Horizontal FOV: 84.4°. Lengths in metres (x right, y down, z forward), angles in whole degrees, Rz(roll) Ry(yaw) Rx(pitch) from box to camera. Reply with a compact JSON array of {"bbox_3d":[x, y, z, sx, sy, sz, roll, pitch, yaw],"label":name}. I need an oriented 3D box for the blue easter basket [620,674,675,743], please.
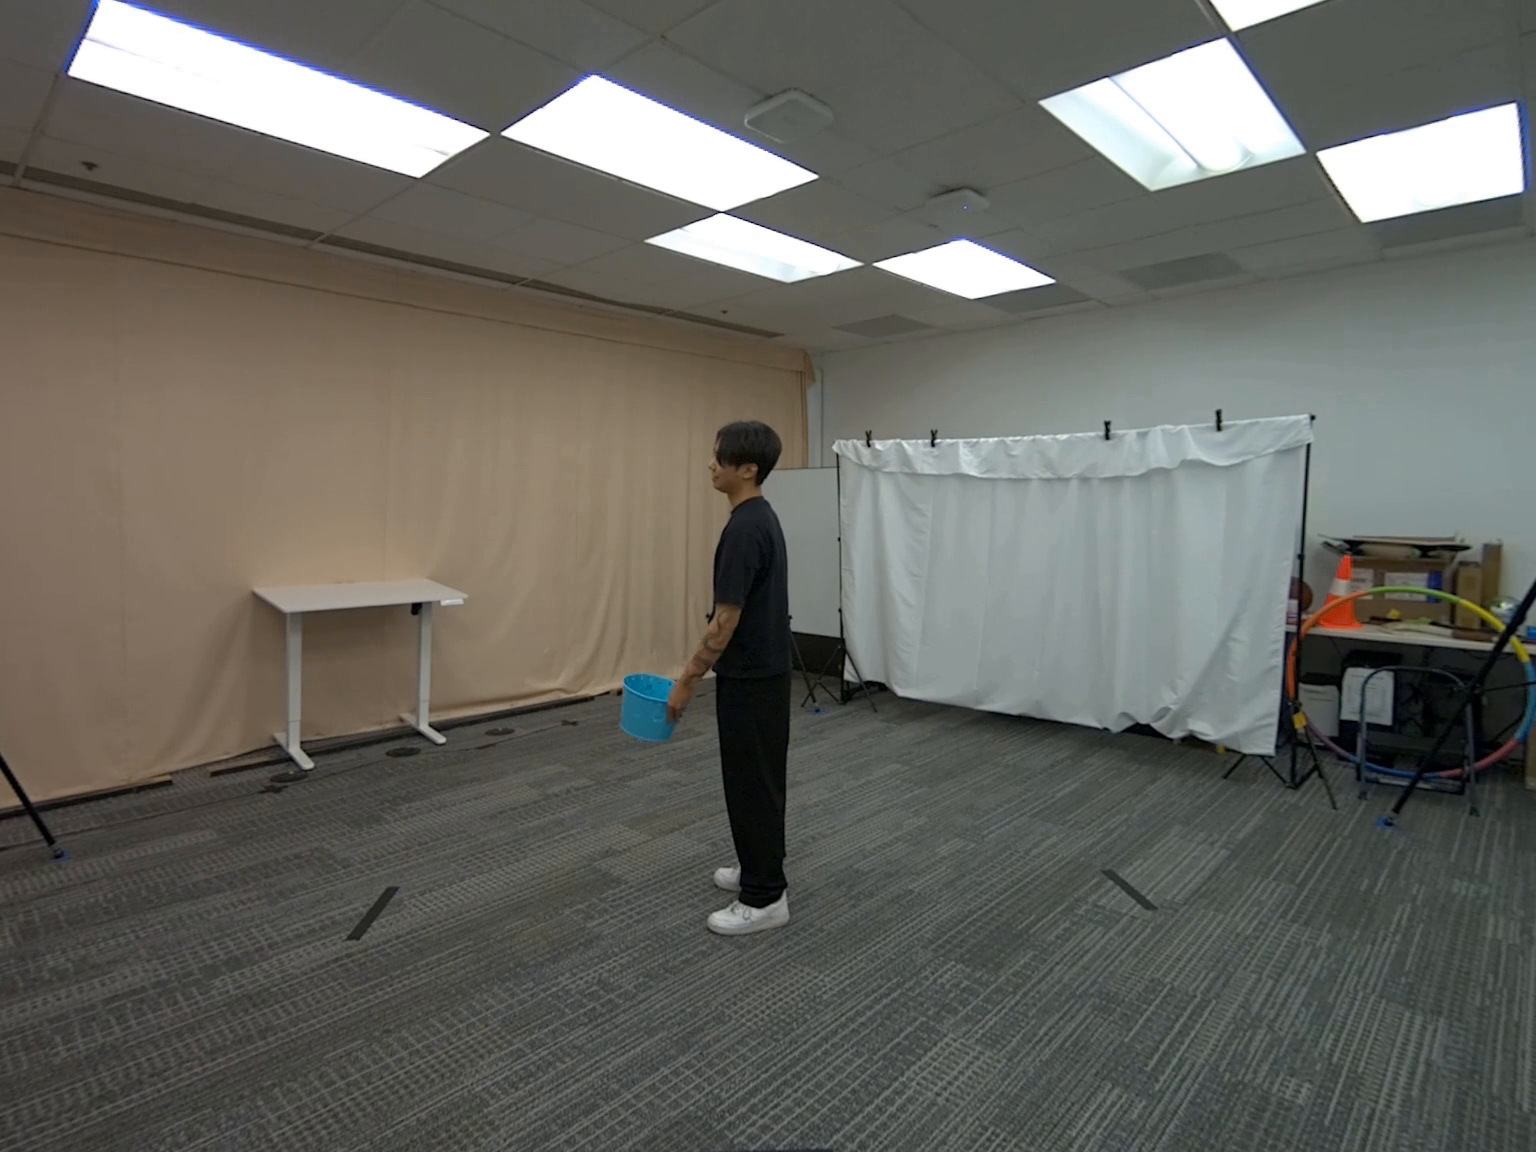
[{"bbox_3d":[-0.367,0.445,2.805,0.243,0.155,0.245,12,8,-4],"label":"blue easter basket"}]
